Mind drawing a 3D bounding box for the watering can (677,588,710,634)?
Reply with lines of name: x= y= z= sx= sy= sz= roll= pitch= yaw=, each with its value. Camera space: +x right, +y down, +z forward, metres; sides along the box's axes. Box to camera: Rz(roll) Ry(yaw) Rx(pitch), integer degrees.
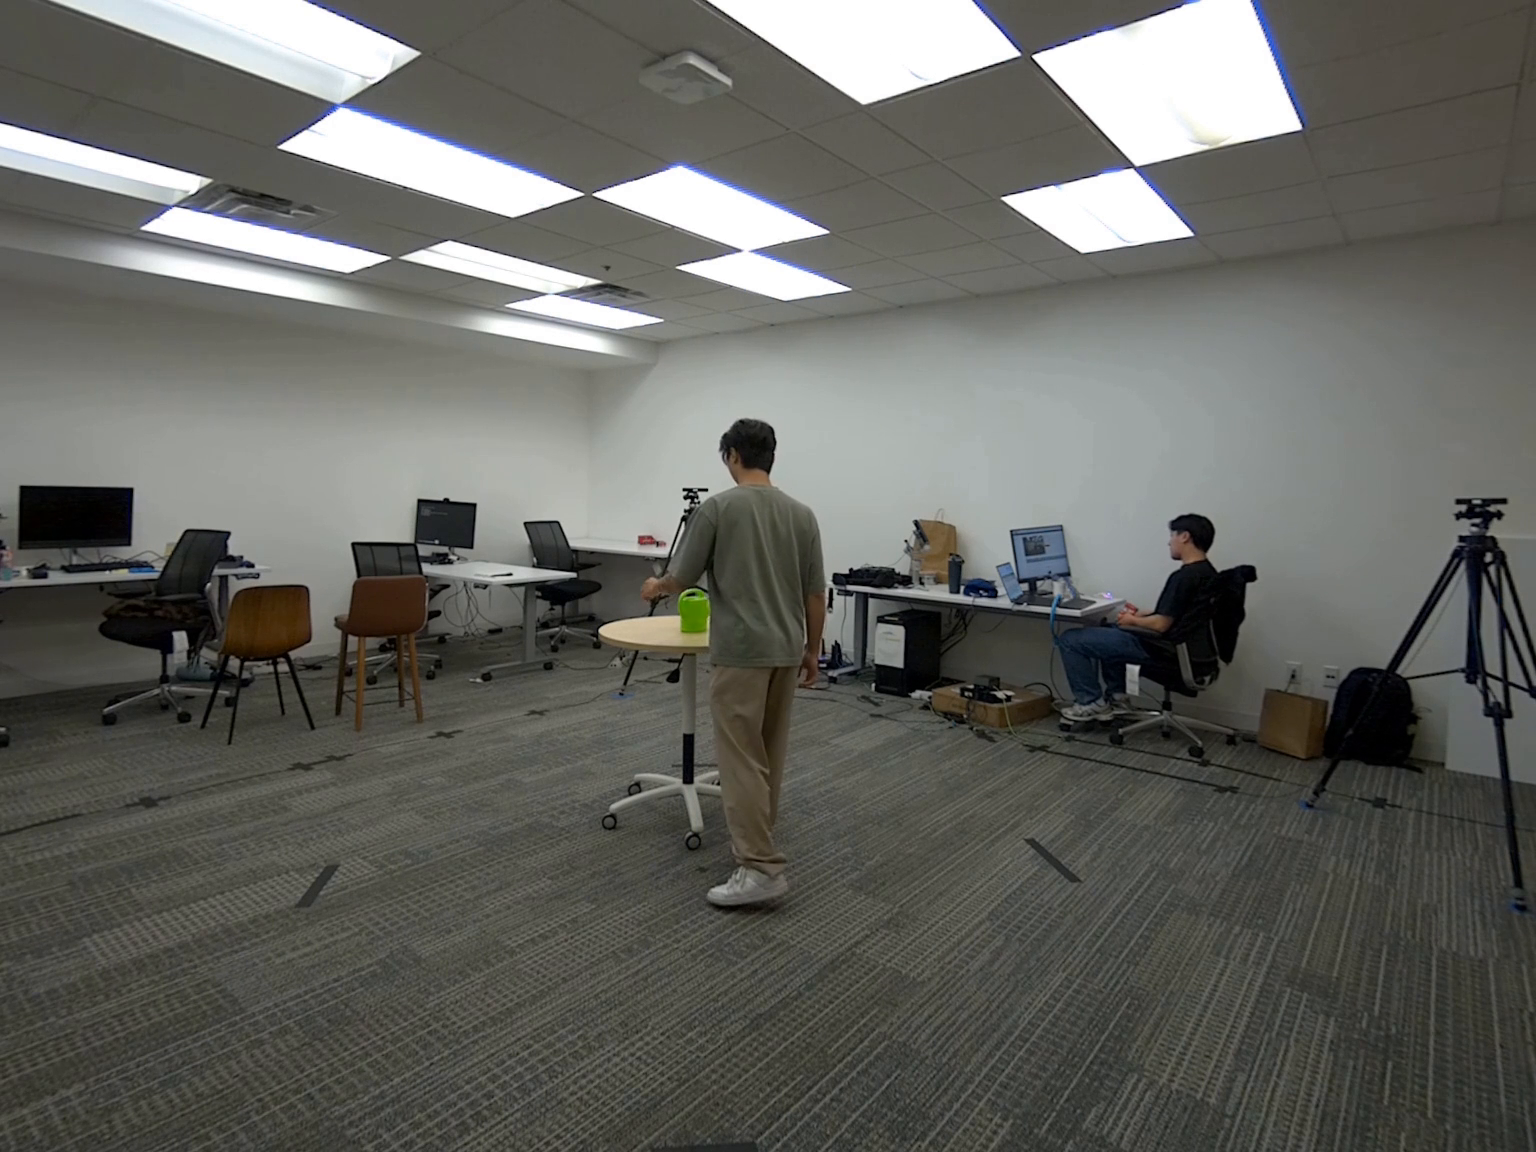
watering can: x=-0.286 y=0.137 z=3.587 sx=0.270 sy=0.176 sz=0.101 roll=-3 pitch=7 yaw=-36
